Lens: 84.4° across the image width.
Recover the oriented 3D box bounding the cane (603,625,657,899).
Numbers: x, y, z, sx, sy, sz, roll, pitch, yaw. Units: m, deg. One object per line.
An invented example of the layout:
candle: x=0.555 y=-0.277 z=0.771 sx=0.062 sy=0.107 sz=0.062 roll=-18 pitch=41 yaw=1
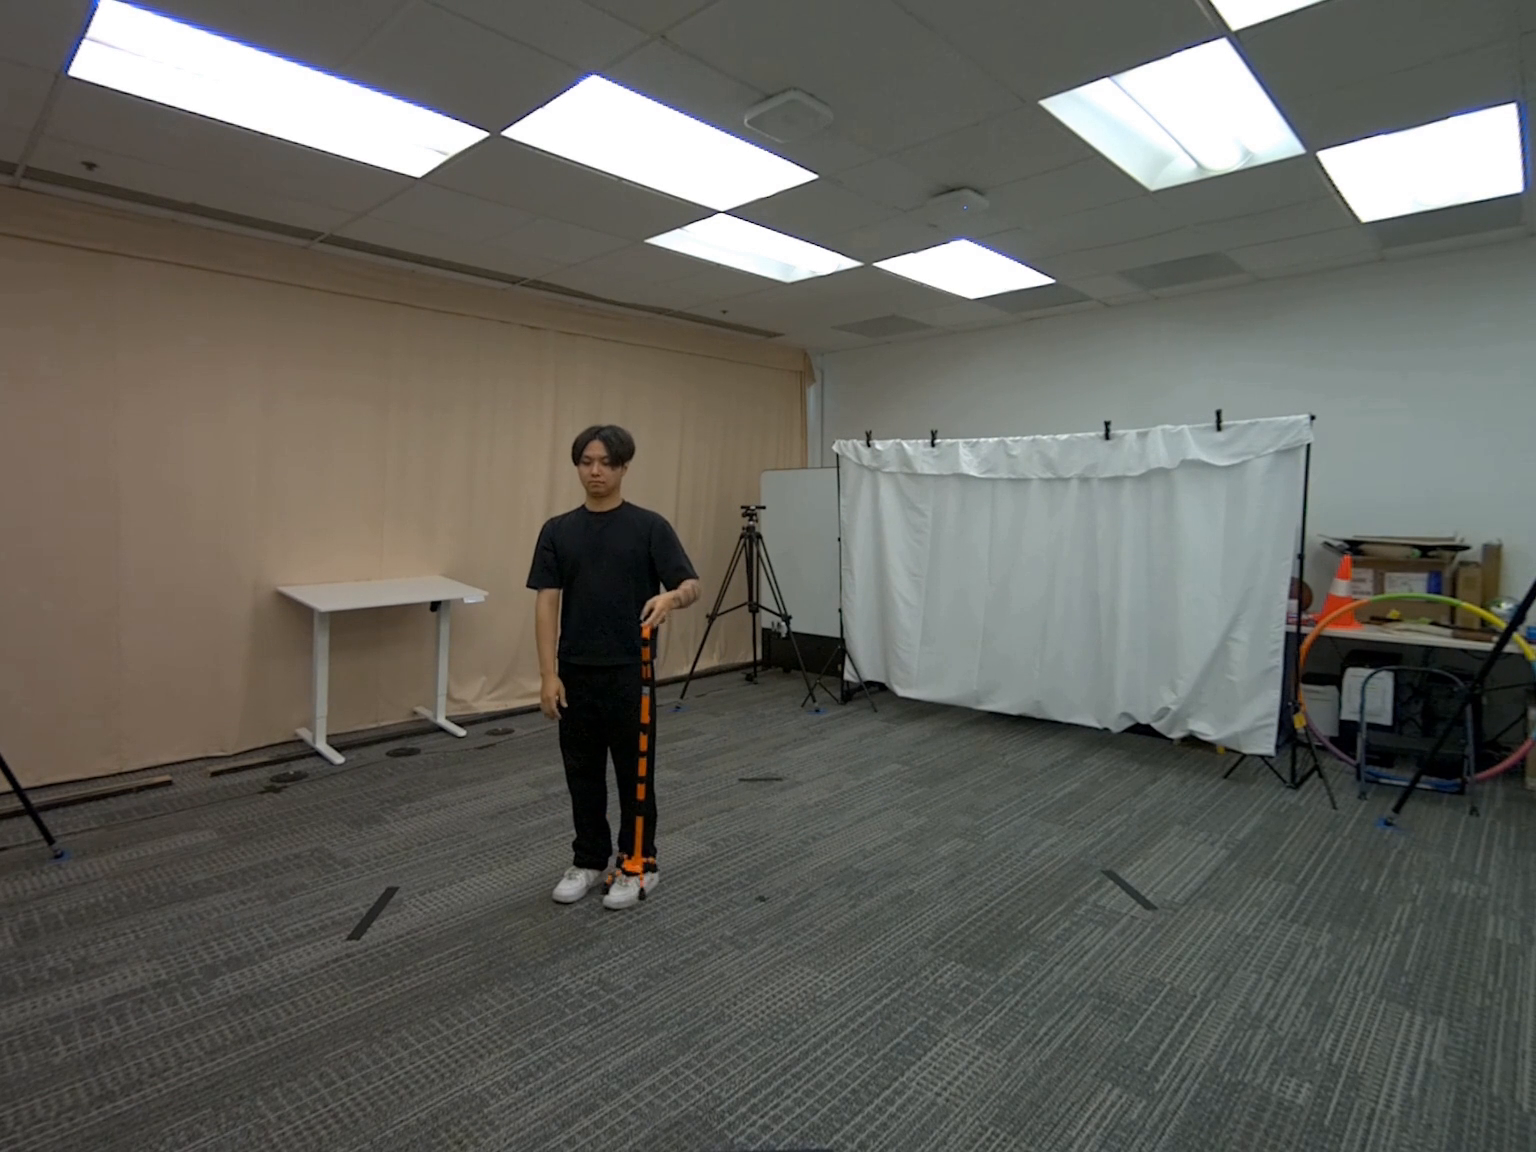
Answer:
cane: x=-0.415 y=0.561 z=2.739 sx=0.154 sy=0.905 sz=0.203 roll=6 pitch=6 yaw=15
